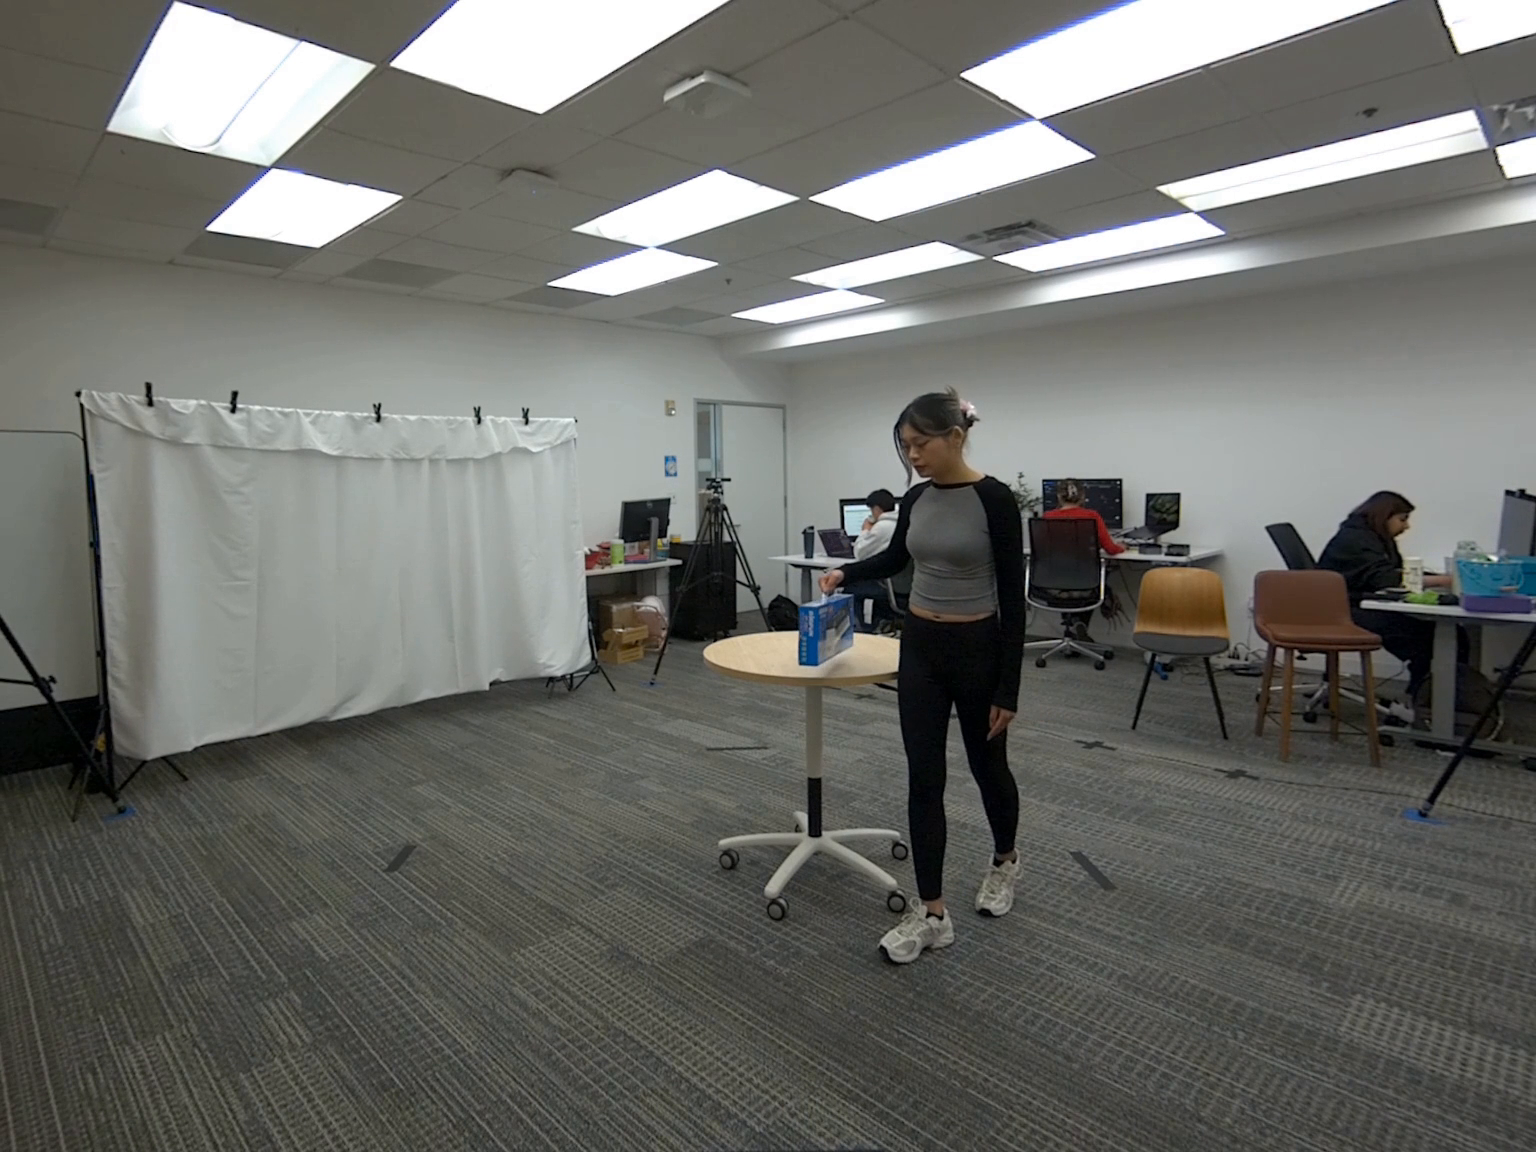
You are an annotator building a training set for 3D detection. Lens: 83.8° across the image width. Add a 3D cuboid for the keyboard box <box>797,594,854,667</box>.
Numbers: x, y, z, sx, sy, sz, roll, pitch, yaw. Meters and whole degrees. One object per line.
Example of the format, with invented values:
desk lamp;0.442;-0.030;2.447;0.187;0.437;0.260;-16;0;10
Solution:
keyboard box;0.190;0.163;2.640;0.060;0.176;0.429;1;3;18
